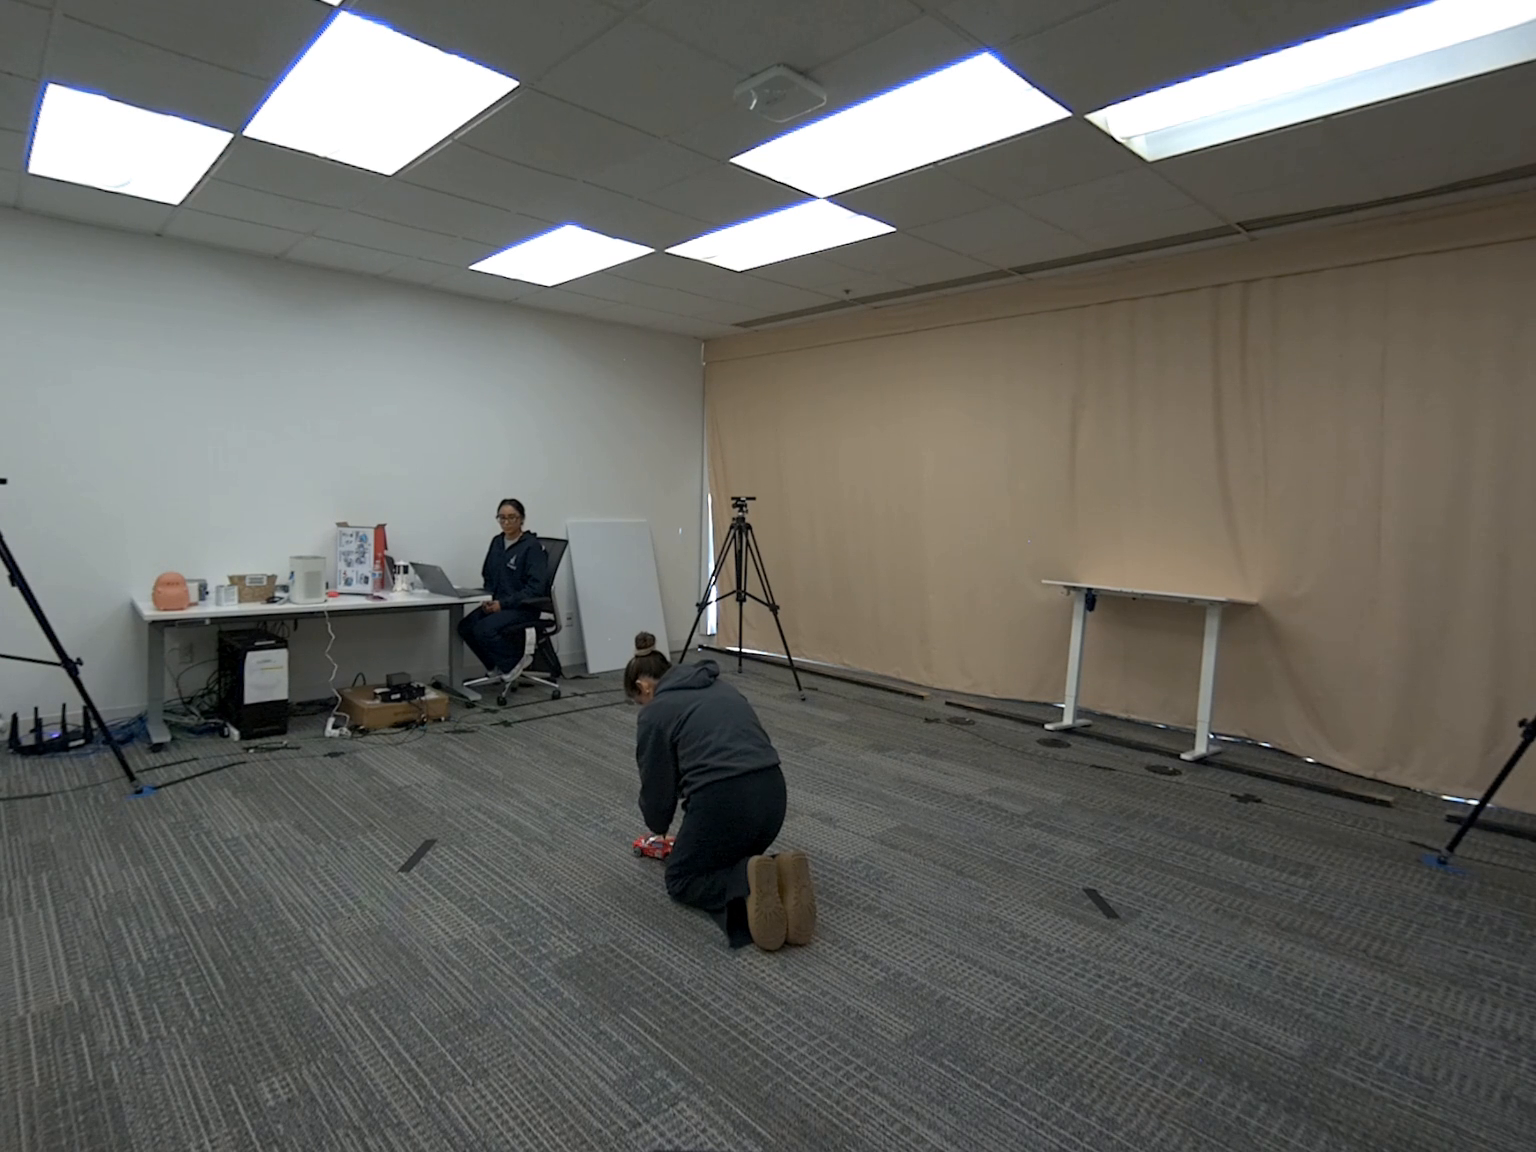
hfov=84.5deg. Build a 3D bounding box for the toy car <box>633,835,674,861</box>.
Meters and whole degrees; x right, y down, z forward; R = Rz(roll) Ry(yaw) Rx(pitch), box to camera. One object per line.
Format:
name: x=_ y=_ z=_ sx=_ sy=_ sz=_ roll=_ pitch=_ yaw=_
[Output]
toy car: x=-0.410 y=1.058 z=3.258 sx=0.259 sy=0.083 sz=0.128 roll=-7 pitch=1 yaw=29
